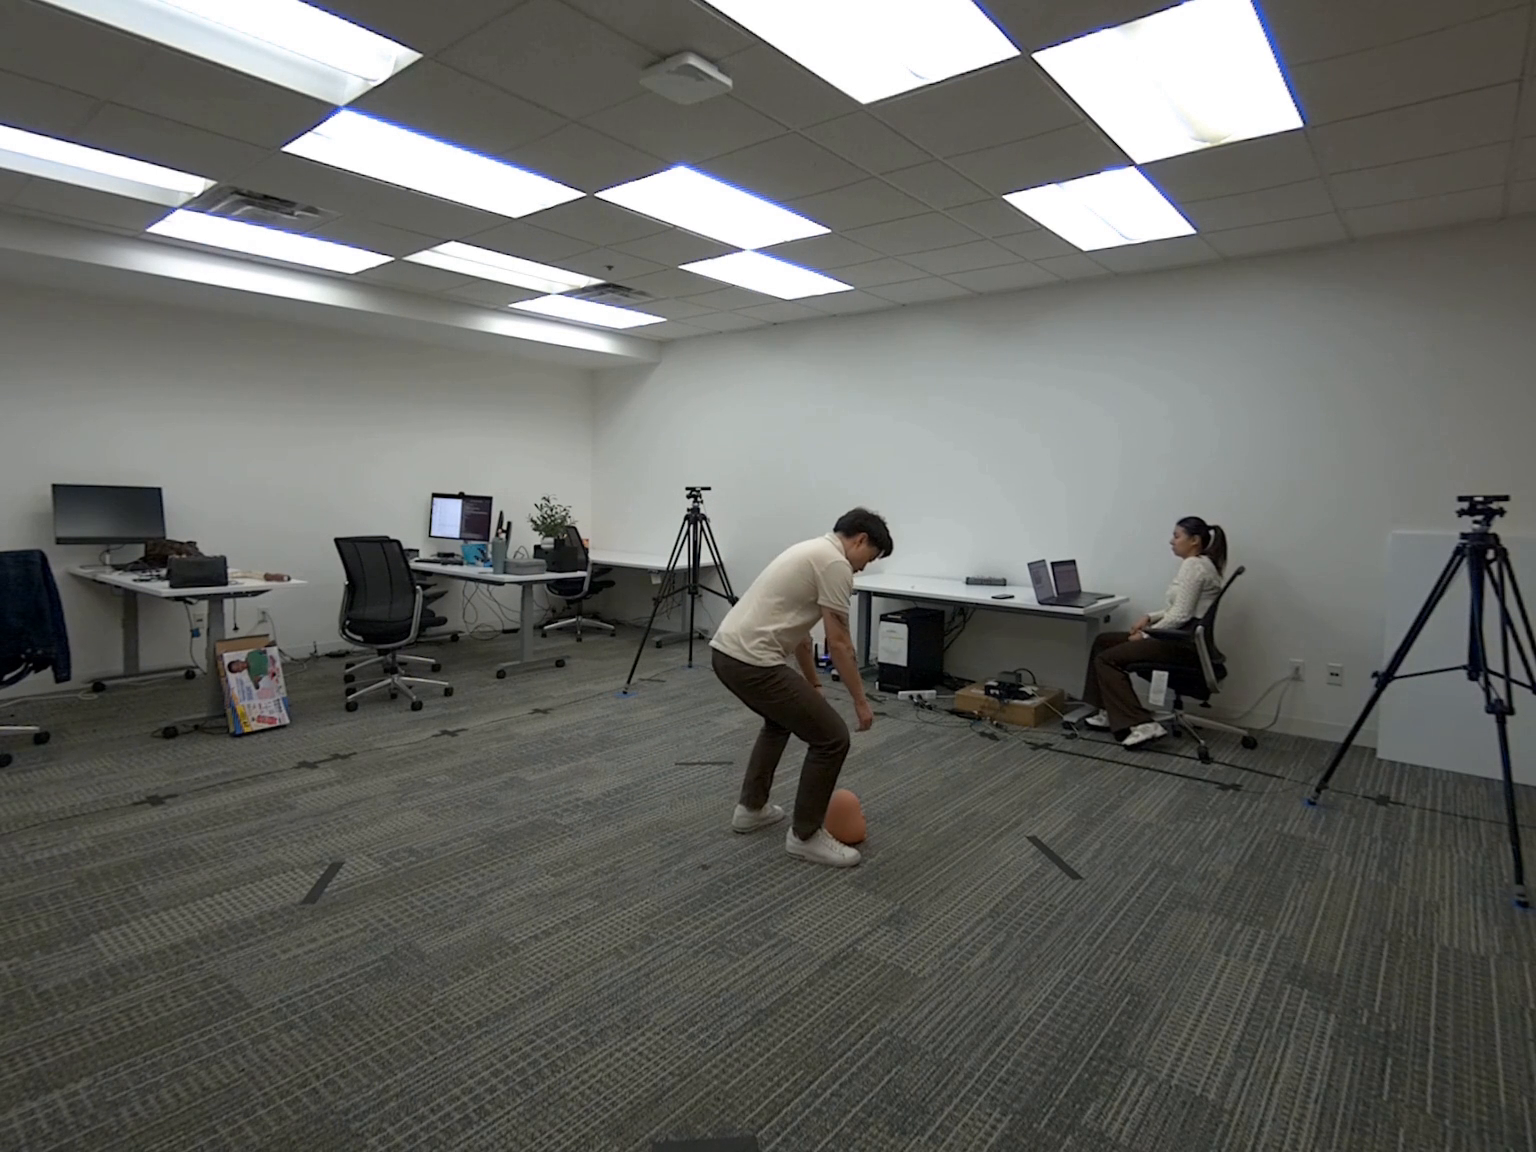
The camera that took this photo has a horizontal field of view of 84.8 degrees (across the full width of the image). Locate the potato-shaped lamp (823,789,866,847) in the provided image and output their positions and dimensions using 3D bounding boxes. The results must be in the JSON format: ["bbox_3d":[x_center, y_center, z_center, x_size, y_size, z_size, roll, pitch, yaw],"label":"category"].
[{"bbox_3d":[0.296,0.947,3.392,0.167,0.197,0.170,-7,7,-37],"label":"potato-shaped lamp"}]
